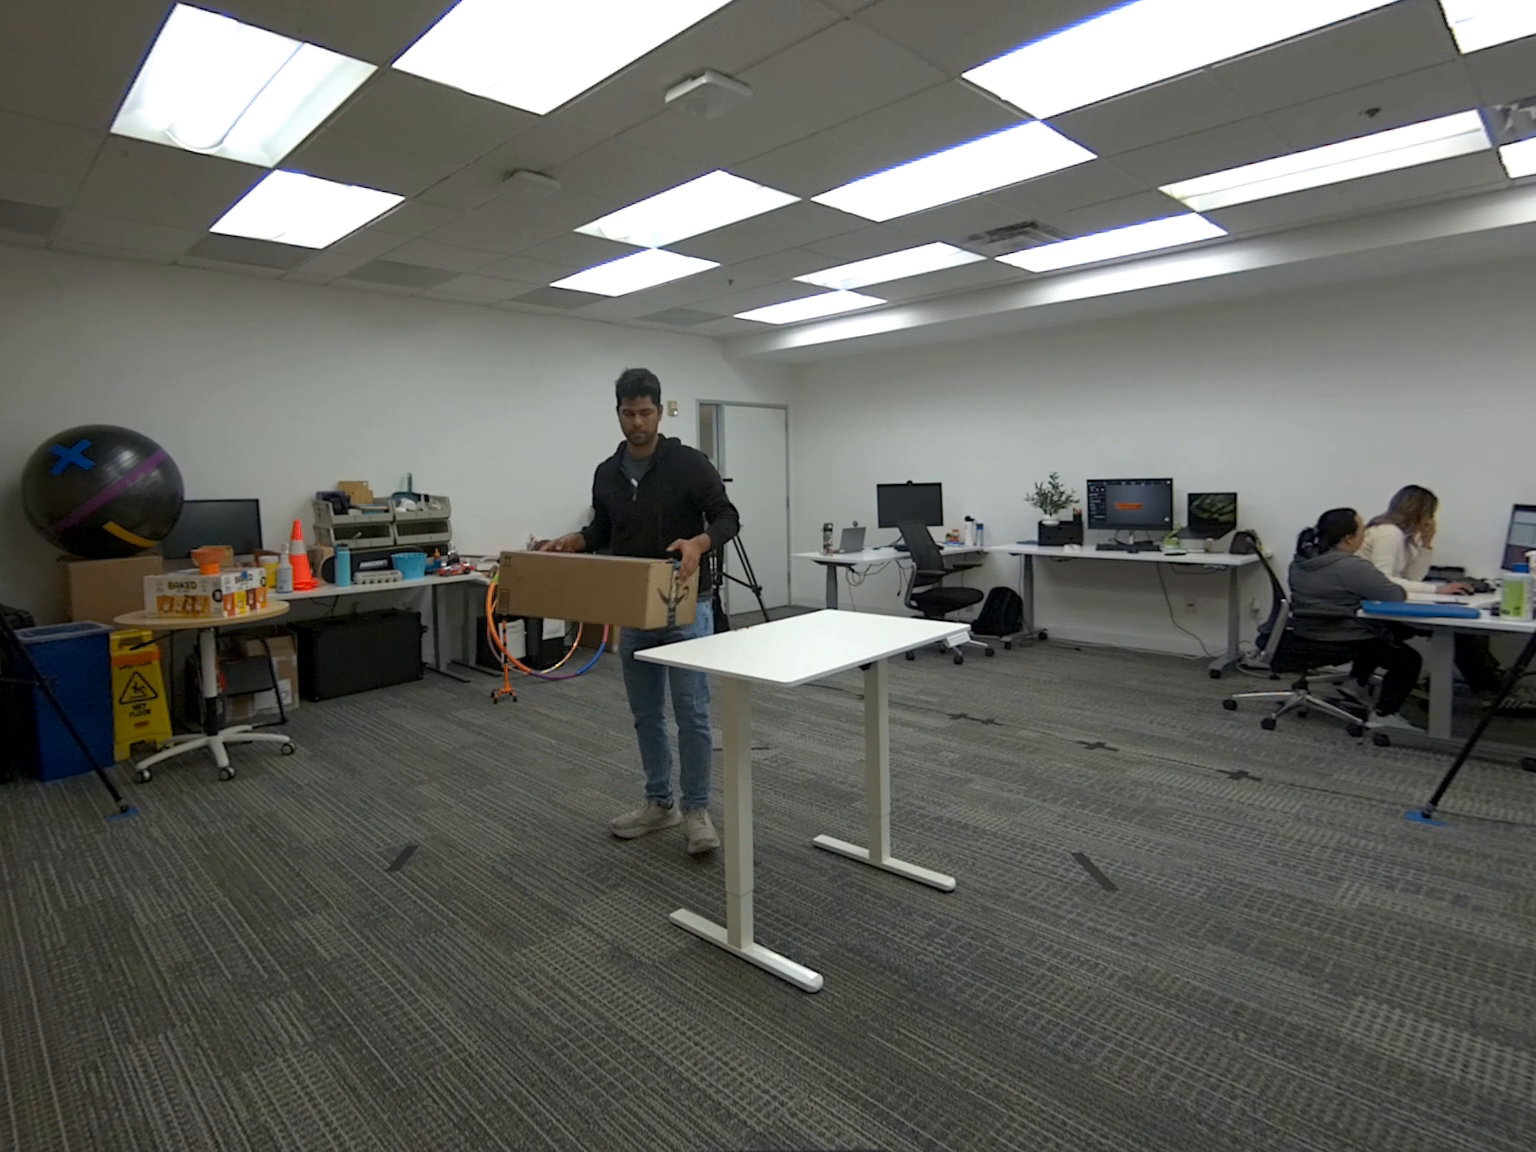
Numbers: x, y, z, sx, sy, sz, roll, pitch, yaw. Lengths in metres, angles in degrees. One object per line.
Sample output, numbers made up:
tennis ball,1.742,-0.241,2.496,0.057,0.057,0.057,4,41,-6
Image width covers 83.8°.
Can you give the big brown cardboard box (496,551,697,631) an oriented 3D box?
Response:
big brown cardboard box,-0.578,0.049,3.008,0.601,0.233,0.409,4,1,19
